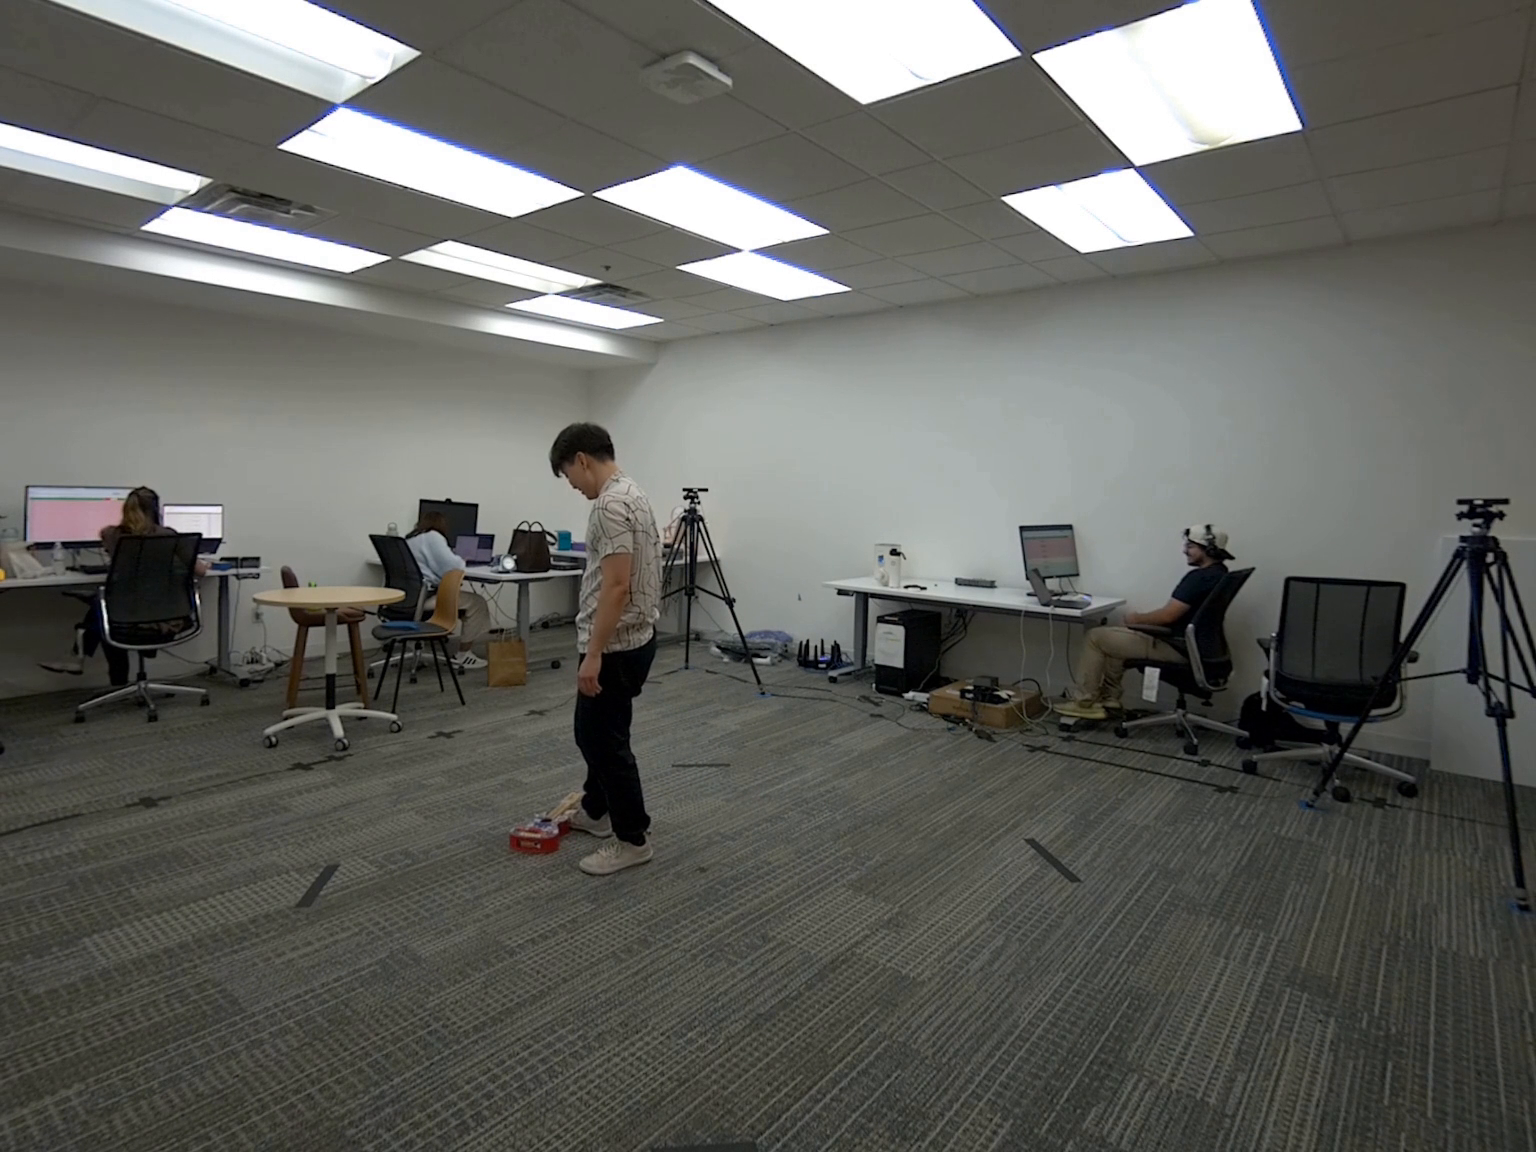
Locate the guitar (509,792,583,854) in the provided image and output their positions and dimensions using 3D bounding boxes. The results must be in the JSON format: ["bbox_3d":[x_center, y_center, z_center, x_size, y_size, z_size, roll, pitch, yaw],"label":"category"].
[{"bbox_3d":[-0.852,0.989,3.453,0.197,0.070,0.489,2,6,19],"label":"guitar"}]
